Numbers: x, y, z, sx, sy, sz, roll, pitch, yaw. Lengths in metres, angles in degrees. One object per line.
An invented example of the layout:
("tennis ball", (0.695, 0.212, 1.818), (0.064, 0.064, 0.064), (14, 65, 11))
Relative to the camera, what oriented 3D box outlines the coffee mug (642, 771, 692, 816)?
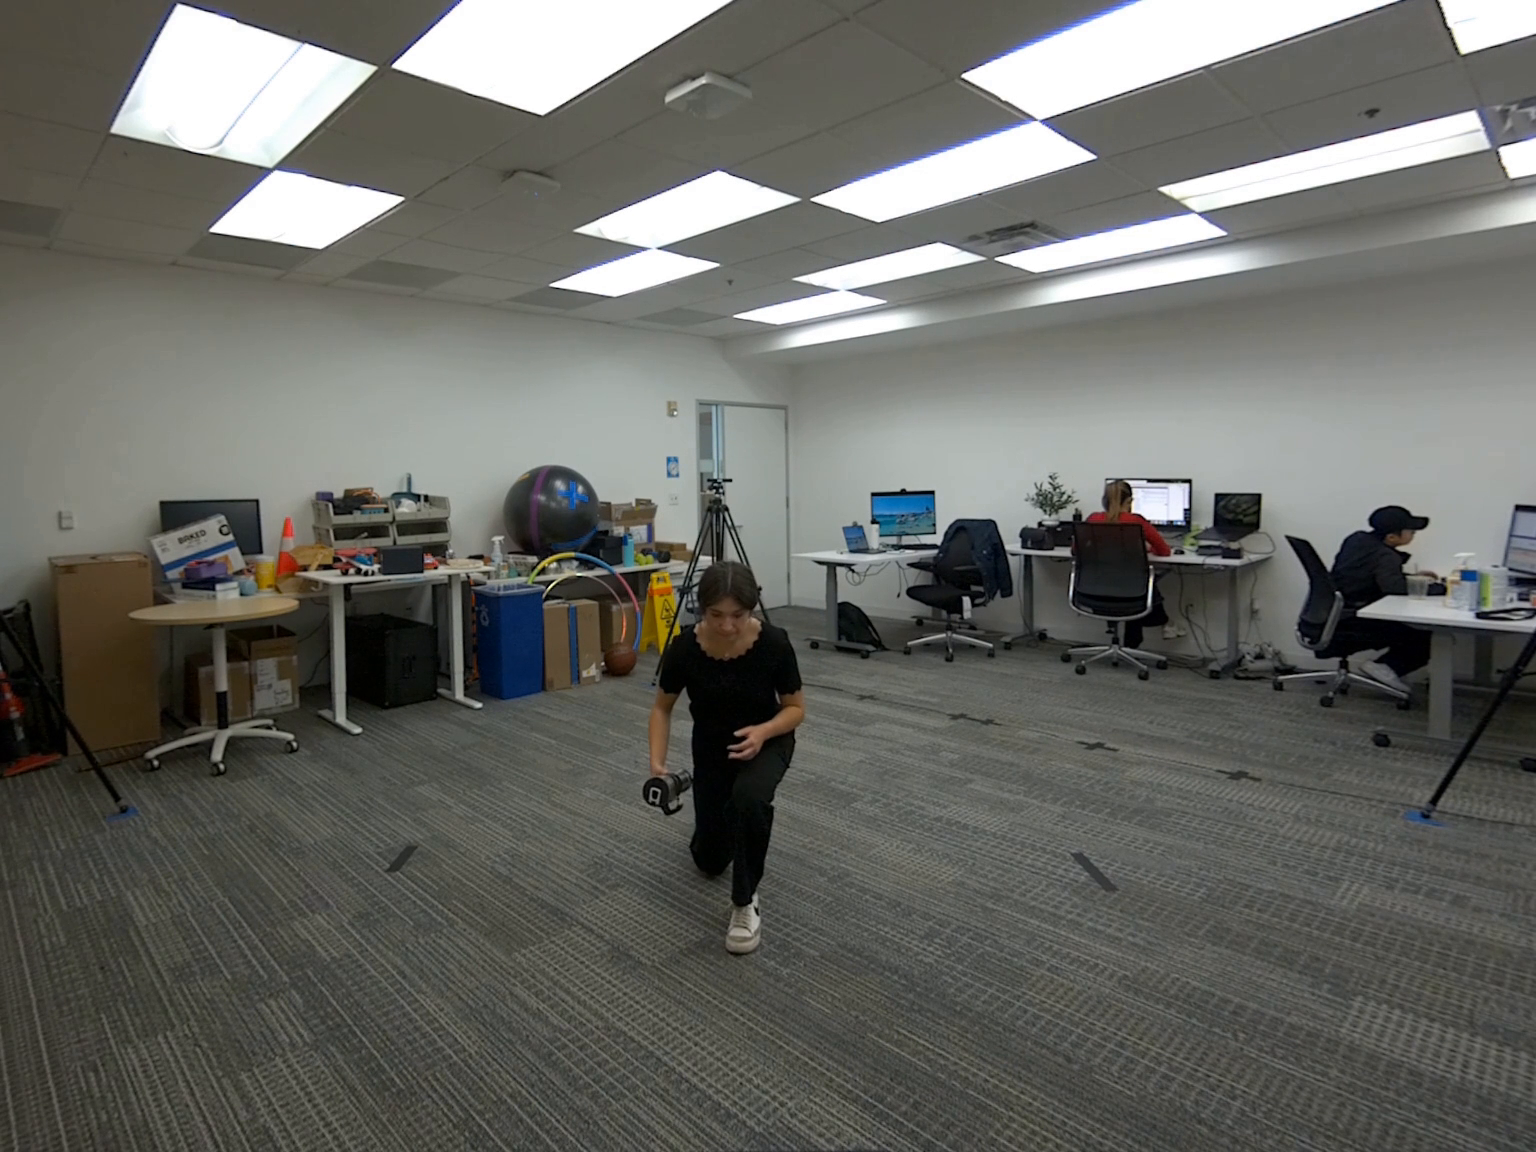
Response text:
("coffee mug", (-0.288, 0.655, 2.654), (0.088, 0.124, 0.198), (-37, -14, 8))
